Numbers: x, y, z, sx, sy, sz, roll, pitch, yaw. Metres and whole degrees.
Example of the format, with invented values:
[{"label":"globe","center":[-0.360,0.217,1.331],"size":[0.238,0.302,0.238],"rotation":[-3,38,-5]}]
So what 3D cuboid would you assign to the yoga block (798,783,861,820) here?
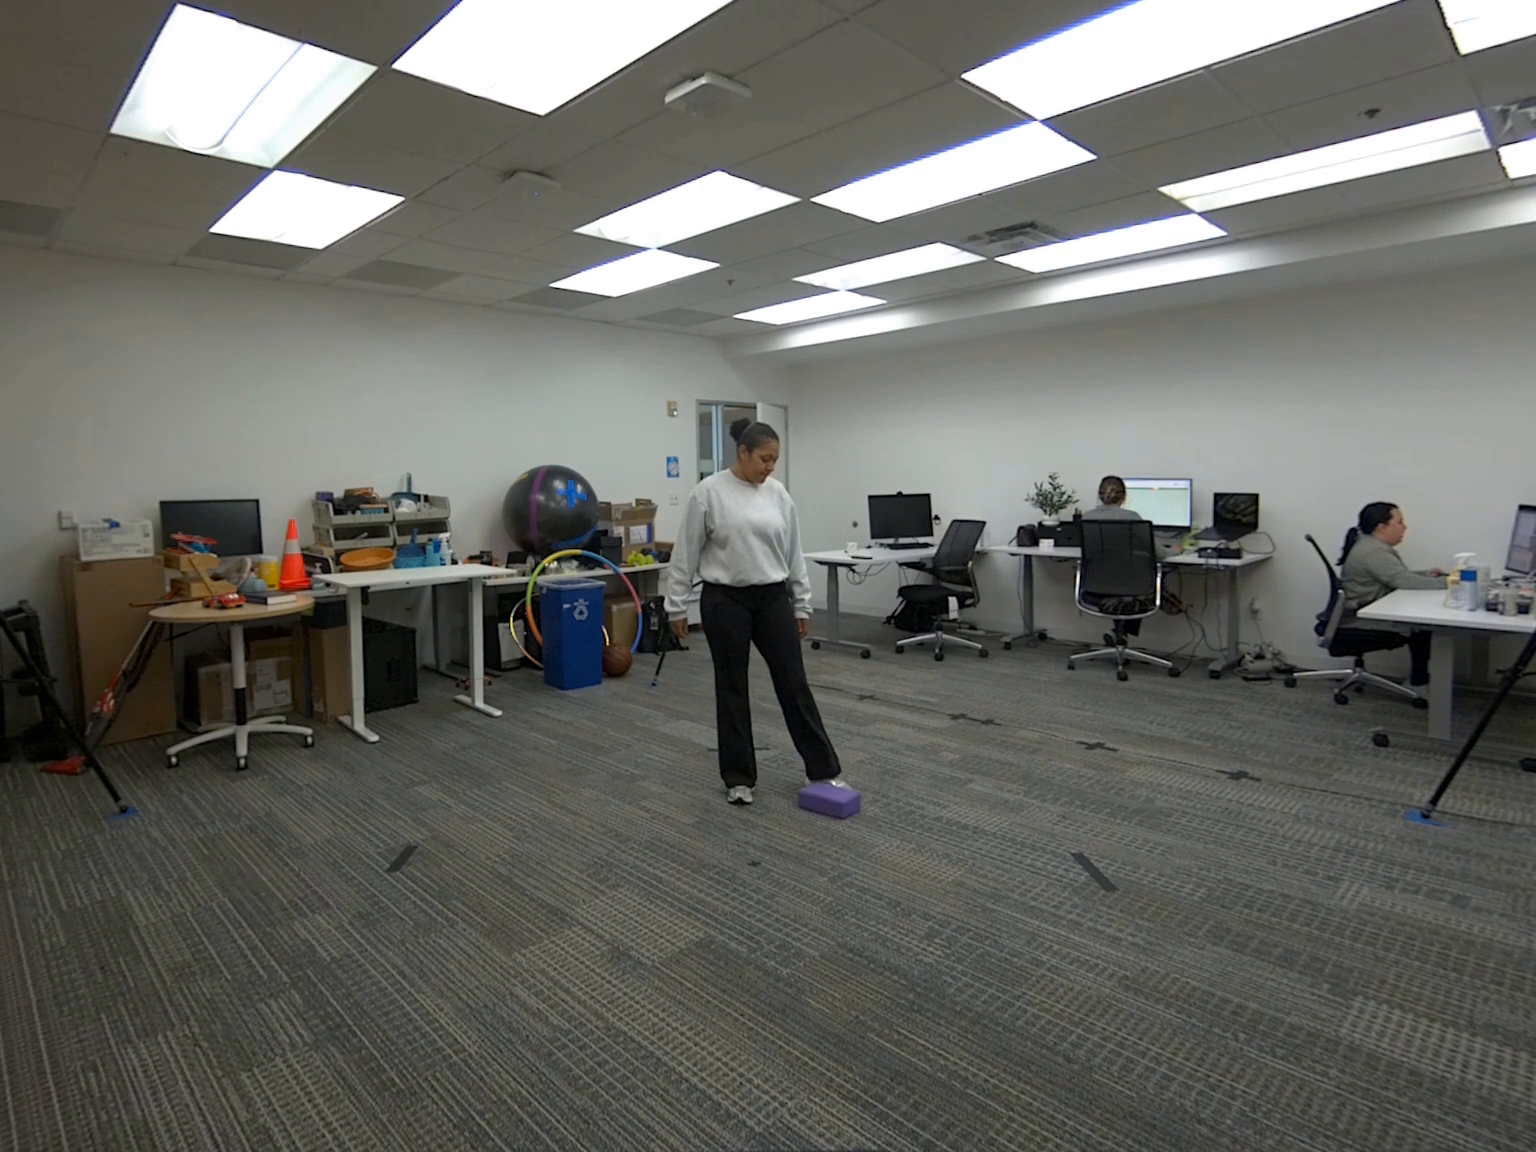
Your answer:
[{"label":"yoga block","center":[0.247,0.947,3.594],"size":[0.236,0.076,0.145],"rotation":[5,9,37]}]
